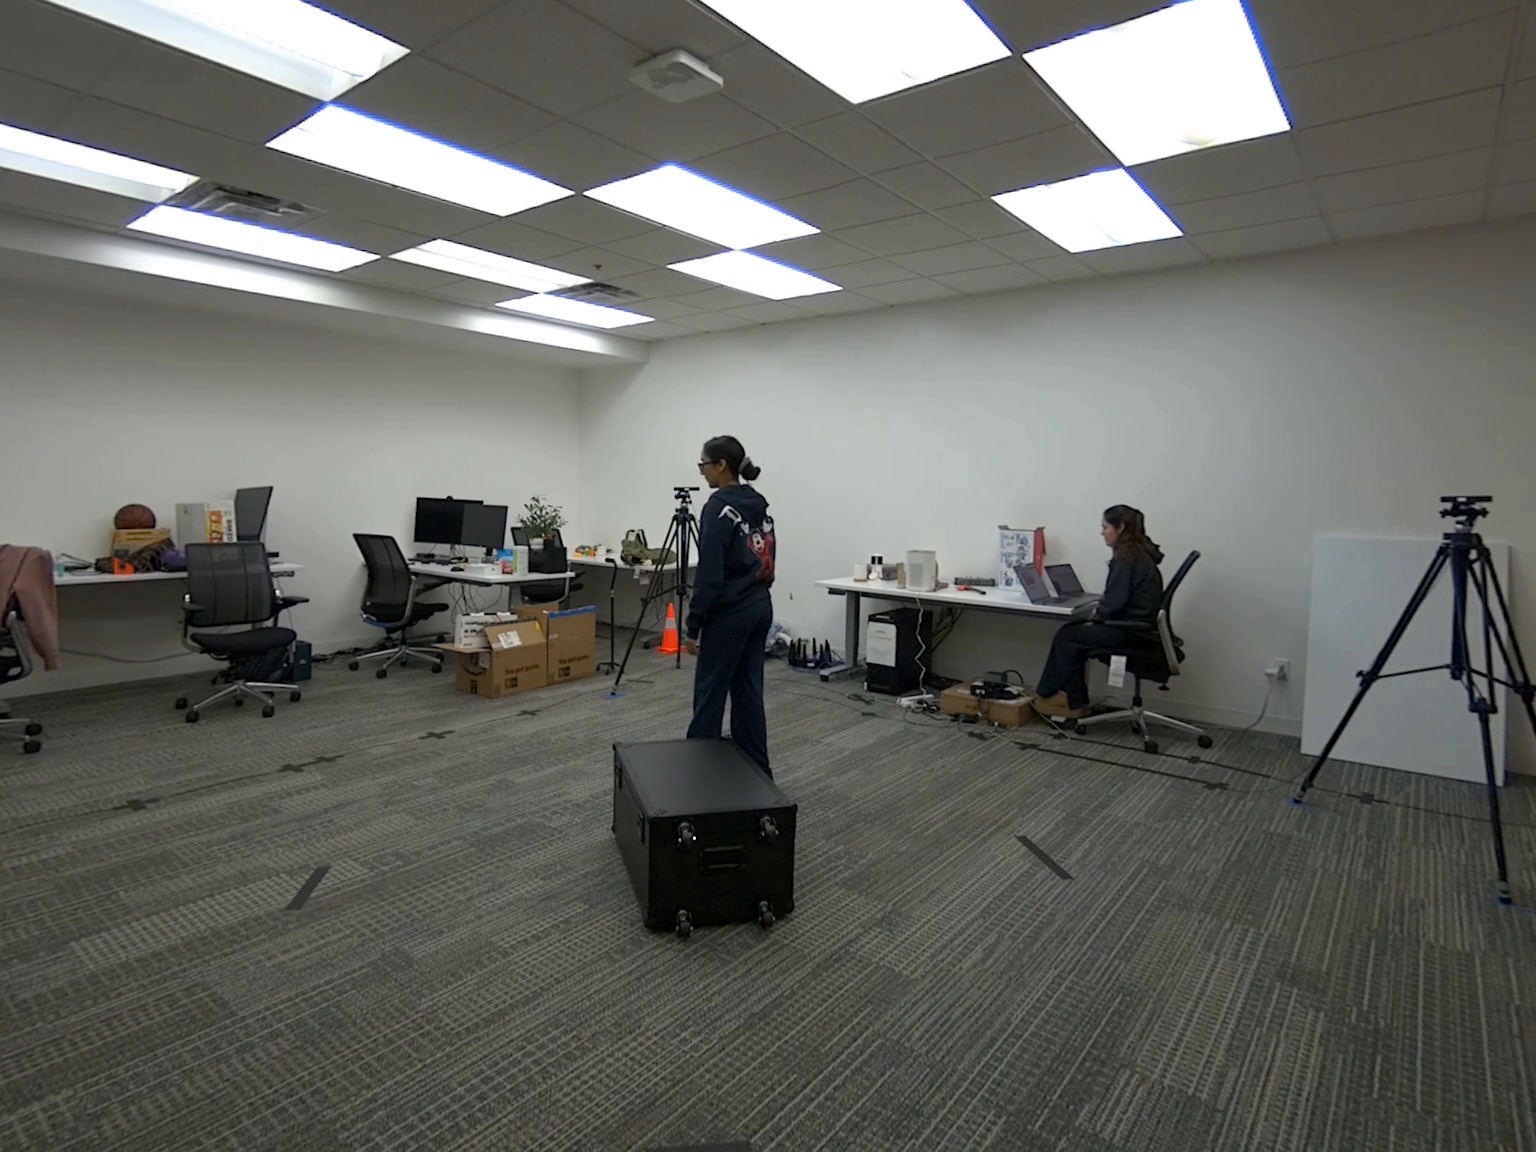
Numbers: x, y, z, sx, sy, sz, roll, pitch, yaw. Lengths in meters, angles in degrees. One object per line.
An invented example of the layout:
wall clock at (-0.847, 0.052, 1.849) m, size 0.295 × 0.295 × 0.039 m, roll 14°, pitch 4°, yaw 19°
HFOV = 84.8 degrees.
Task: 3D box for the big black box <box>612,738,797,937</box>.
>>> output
big black box at (-0.264, 0.883, 3.016) m, size 0.512 × 0.395 × 0.880 m, roll 0°, pitch 5°, yaw -18°
